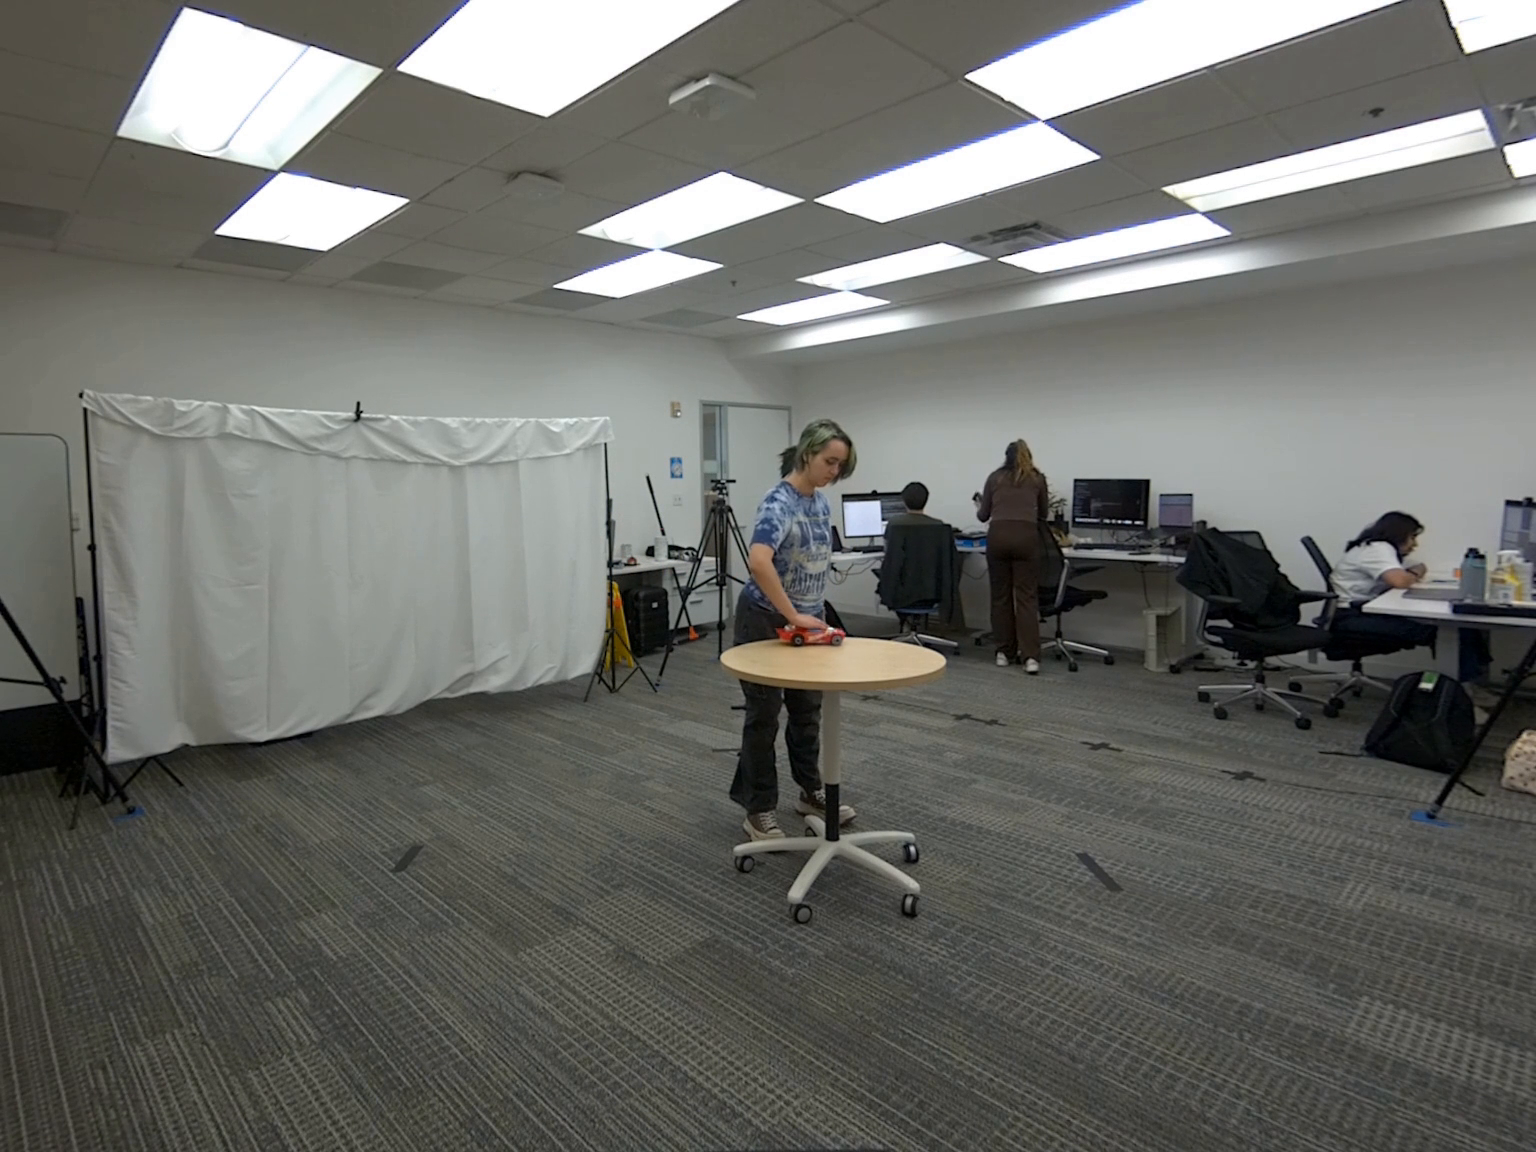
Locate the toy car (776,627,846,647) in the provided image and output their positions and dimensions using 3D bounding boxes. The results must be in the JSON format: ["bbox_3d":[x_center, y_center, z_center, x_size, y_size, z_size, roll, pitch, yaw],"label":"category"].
[{"bbox_3d":[0.164,0.222,3.179,0.252,0.083,0.132,7,3,-9],"label":"toy car"}]
